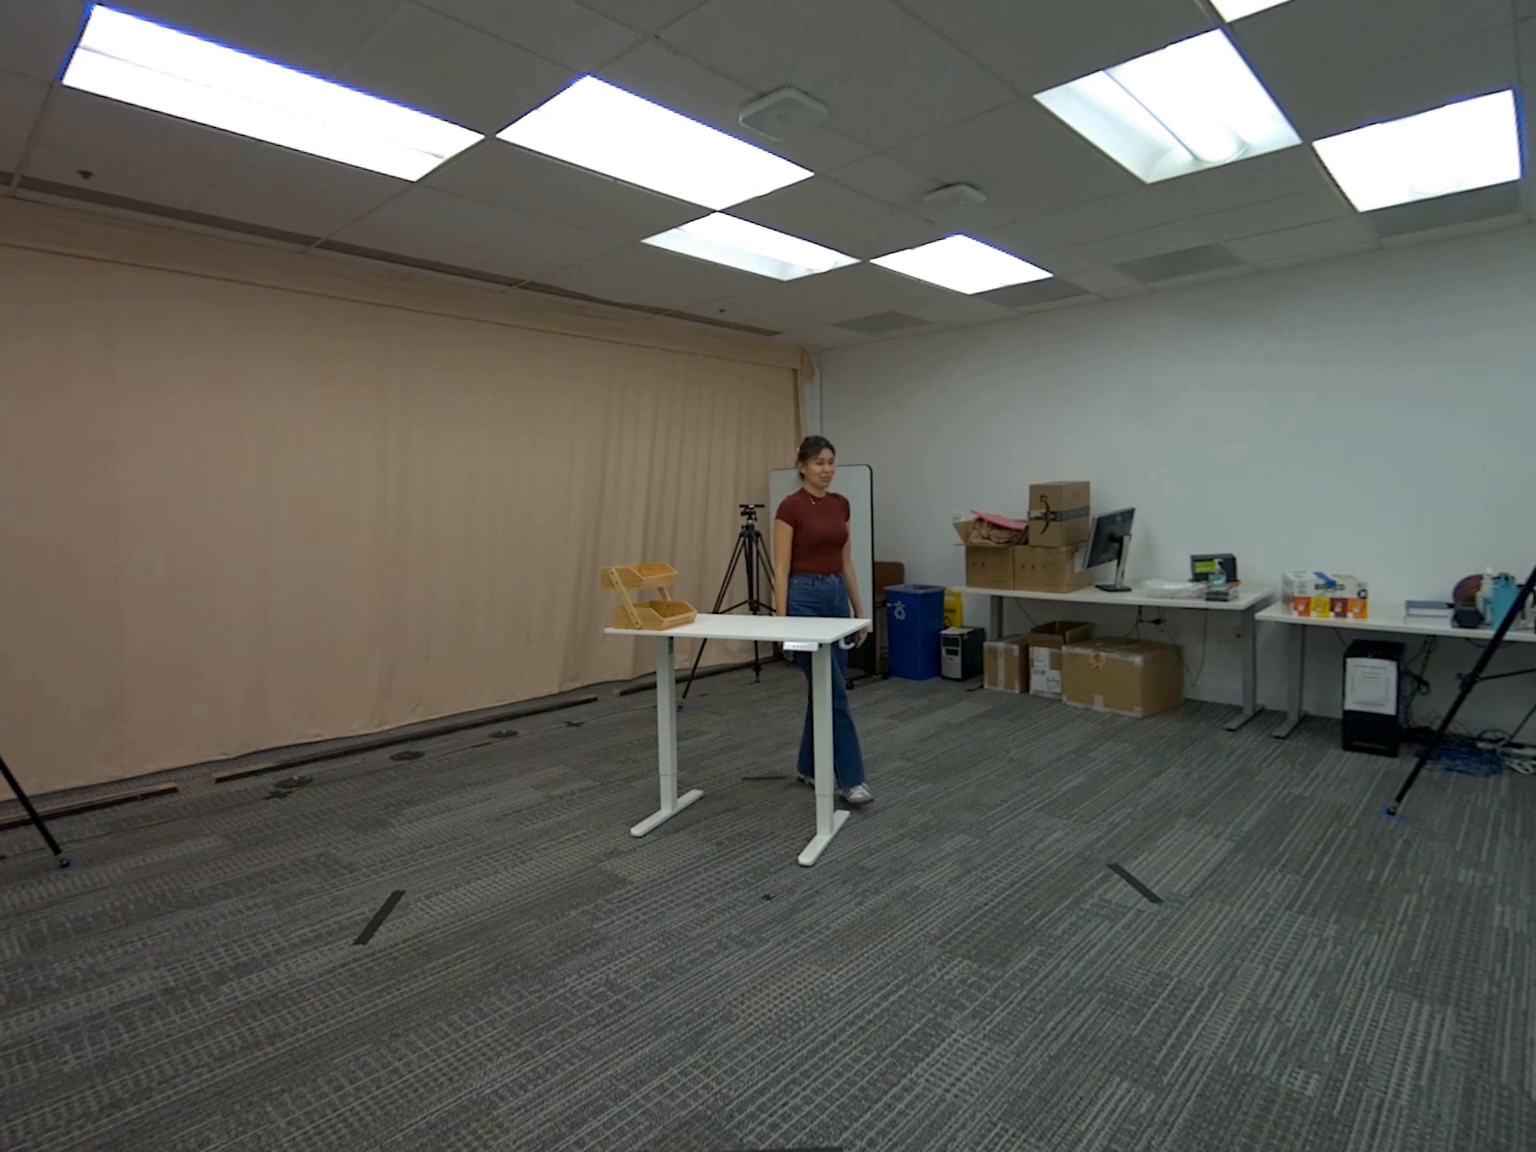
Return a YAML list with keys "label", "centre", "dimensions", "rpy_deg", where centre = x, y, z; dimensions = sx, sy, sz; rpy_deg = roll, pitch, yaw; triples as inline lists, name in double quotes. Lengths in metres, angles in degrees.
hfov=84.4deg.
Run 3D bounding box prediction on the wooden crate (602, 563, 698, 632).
- label: "wooden crate"
  centre: [-0.509, 0.081, 3.656]
  dimensions: [0.310, 0.273, 0.317]
  rpy_deg: [0, 3, 25]
